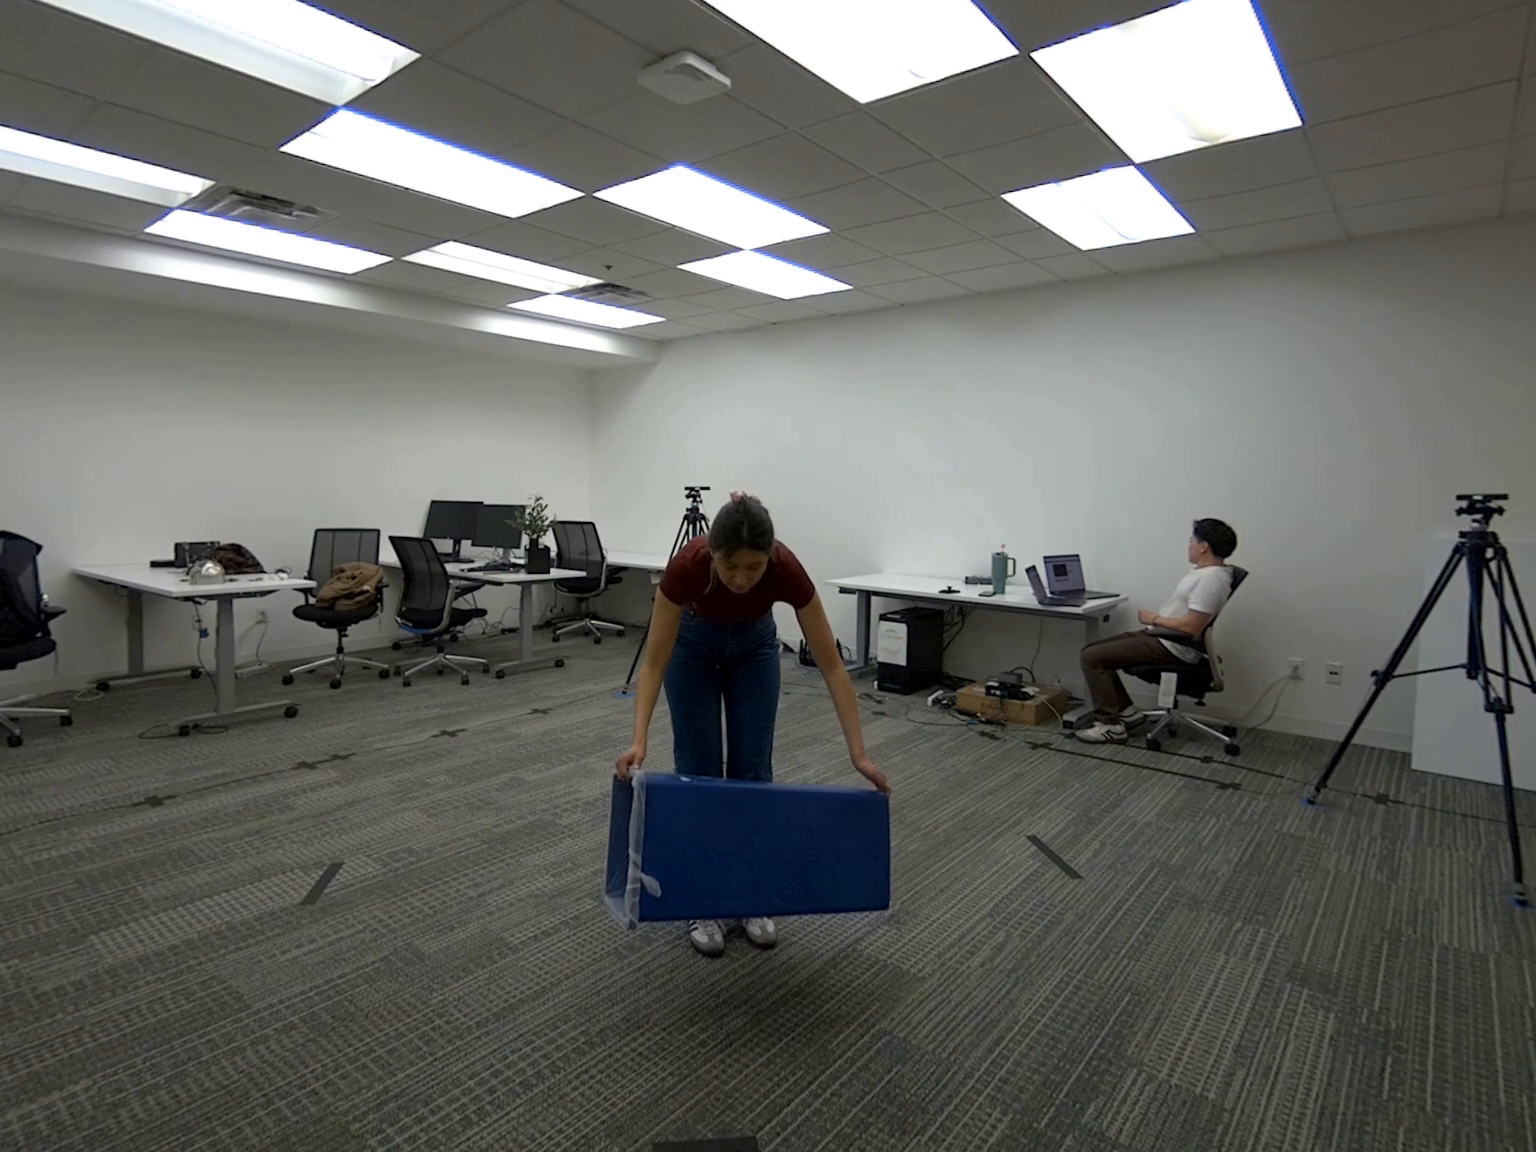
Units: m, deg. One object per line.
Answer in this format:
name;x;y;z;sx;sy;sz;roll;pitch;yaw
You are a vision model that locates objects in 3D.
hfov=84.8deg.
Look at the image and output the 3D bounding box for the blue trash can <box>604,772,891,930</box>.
blue trash can;-0.073;0.733;2.345;0.700;0.383;0.377;7;-13;-17
